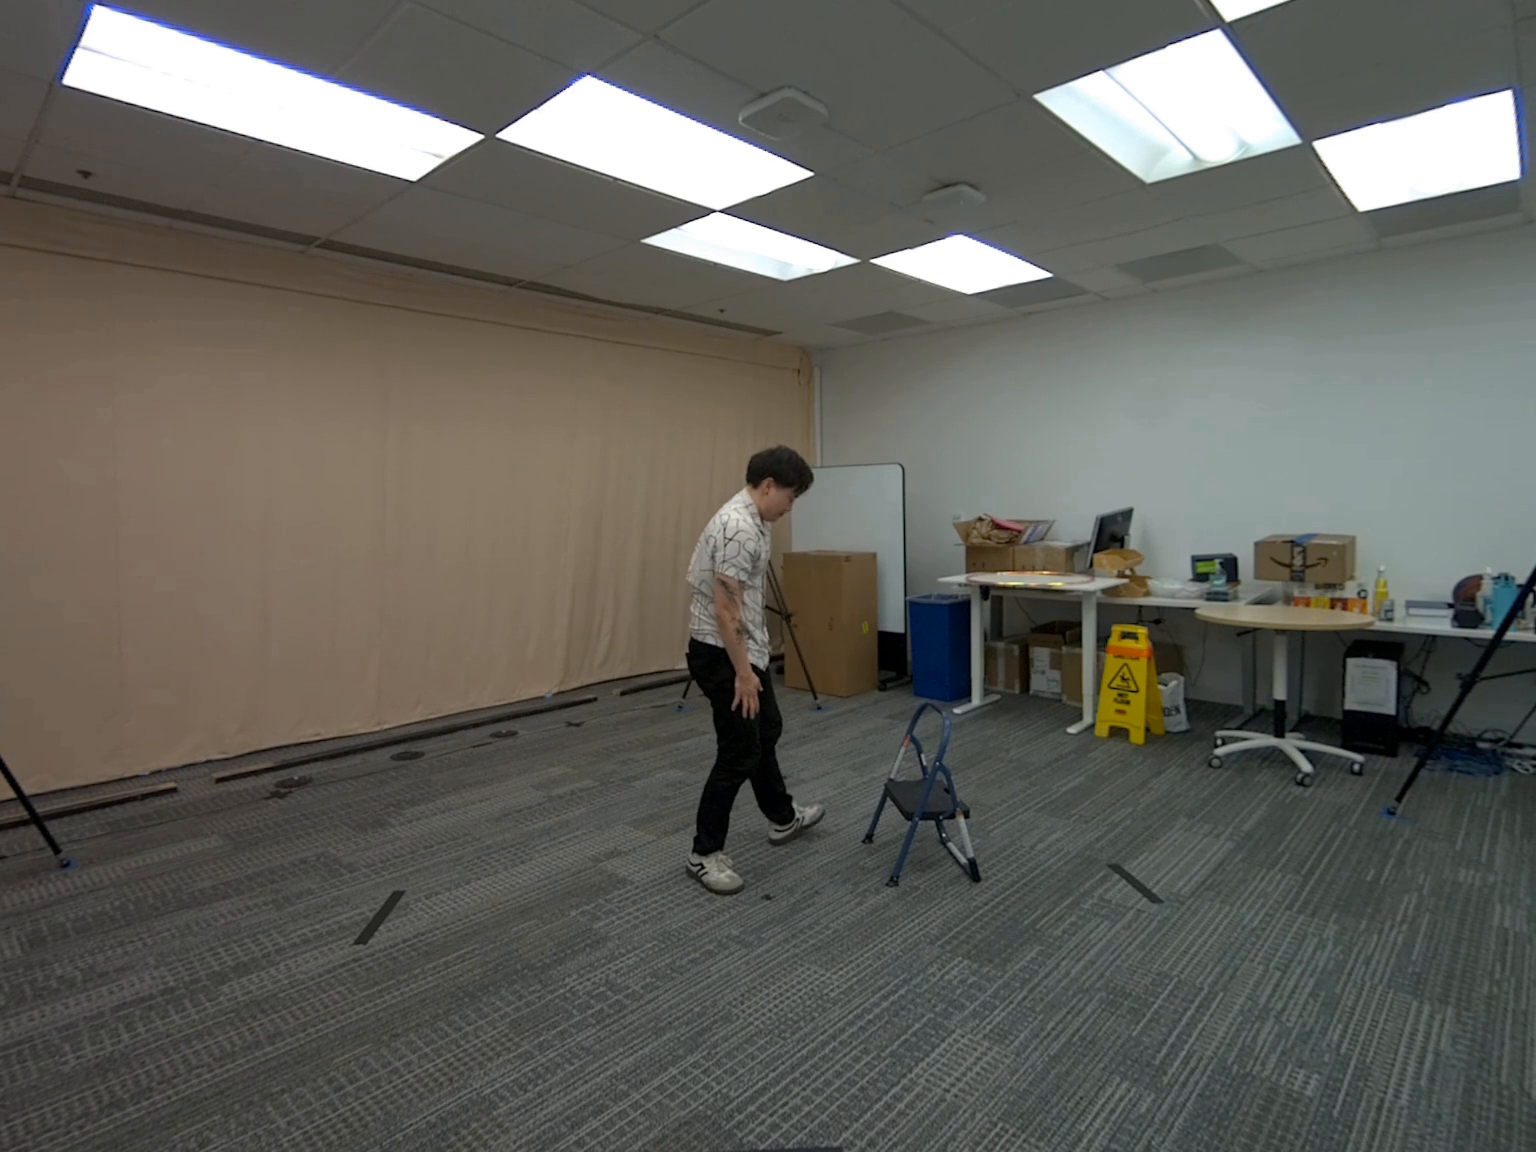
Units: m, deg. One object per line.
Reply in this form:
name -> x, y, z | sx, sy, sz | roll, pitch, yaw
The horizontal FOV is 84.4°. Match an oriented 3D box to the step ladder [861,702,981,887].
step ladder -> 0.591, 0.805, 3.249 | 0.347, 0.605, 0.434 | -1, 3, -6
